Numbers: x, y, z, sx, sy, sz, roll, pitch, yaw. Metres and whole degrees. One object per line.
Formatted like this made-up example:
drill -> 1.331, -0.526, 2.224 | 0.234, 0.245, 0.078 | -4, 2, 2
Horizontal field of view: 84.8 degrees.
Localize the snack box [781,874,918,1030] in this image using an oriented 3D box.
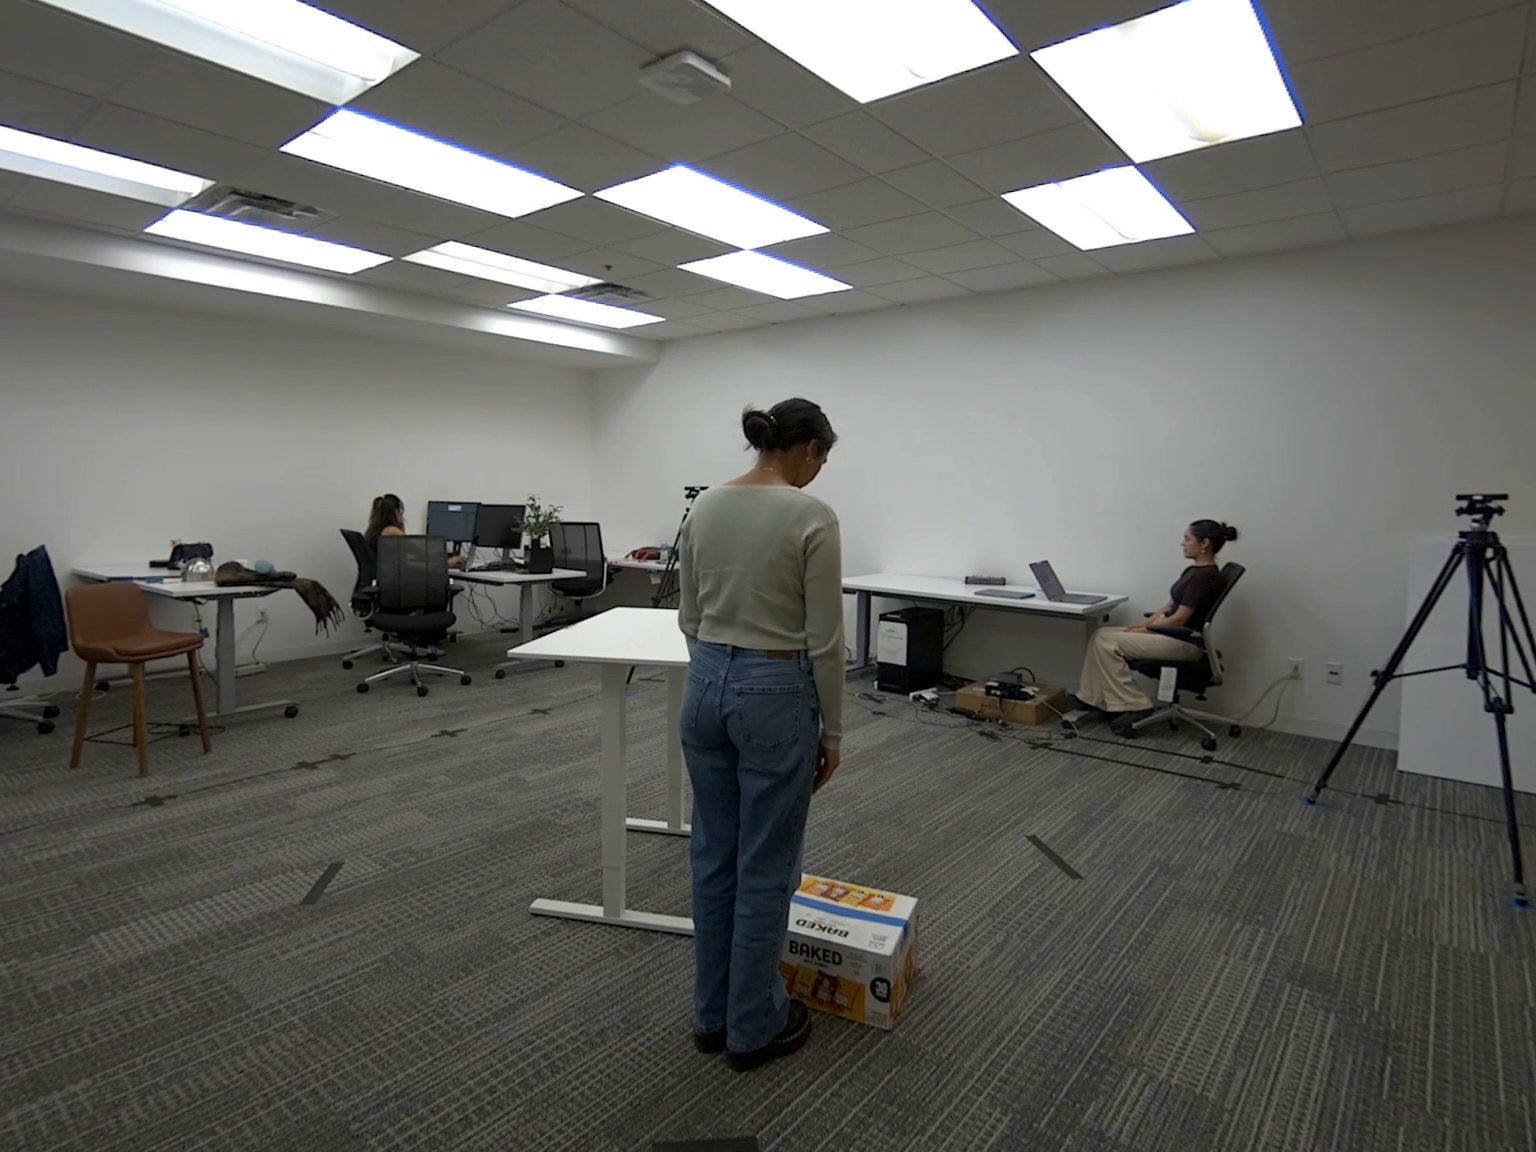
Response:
snack box -> 0.183, 1.040, 2.410 | 0.415, 0.205, 0.333 | 3, 5, 24
